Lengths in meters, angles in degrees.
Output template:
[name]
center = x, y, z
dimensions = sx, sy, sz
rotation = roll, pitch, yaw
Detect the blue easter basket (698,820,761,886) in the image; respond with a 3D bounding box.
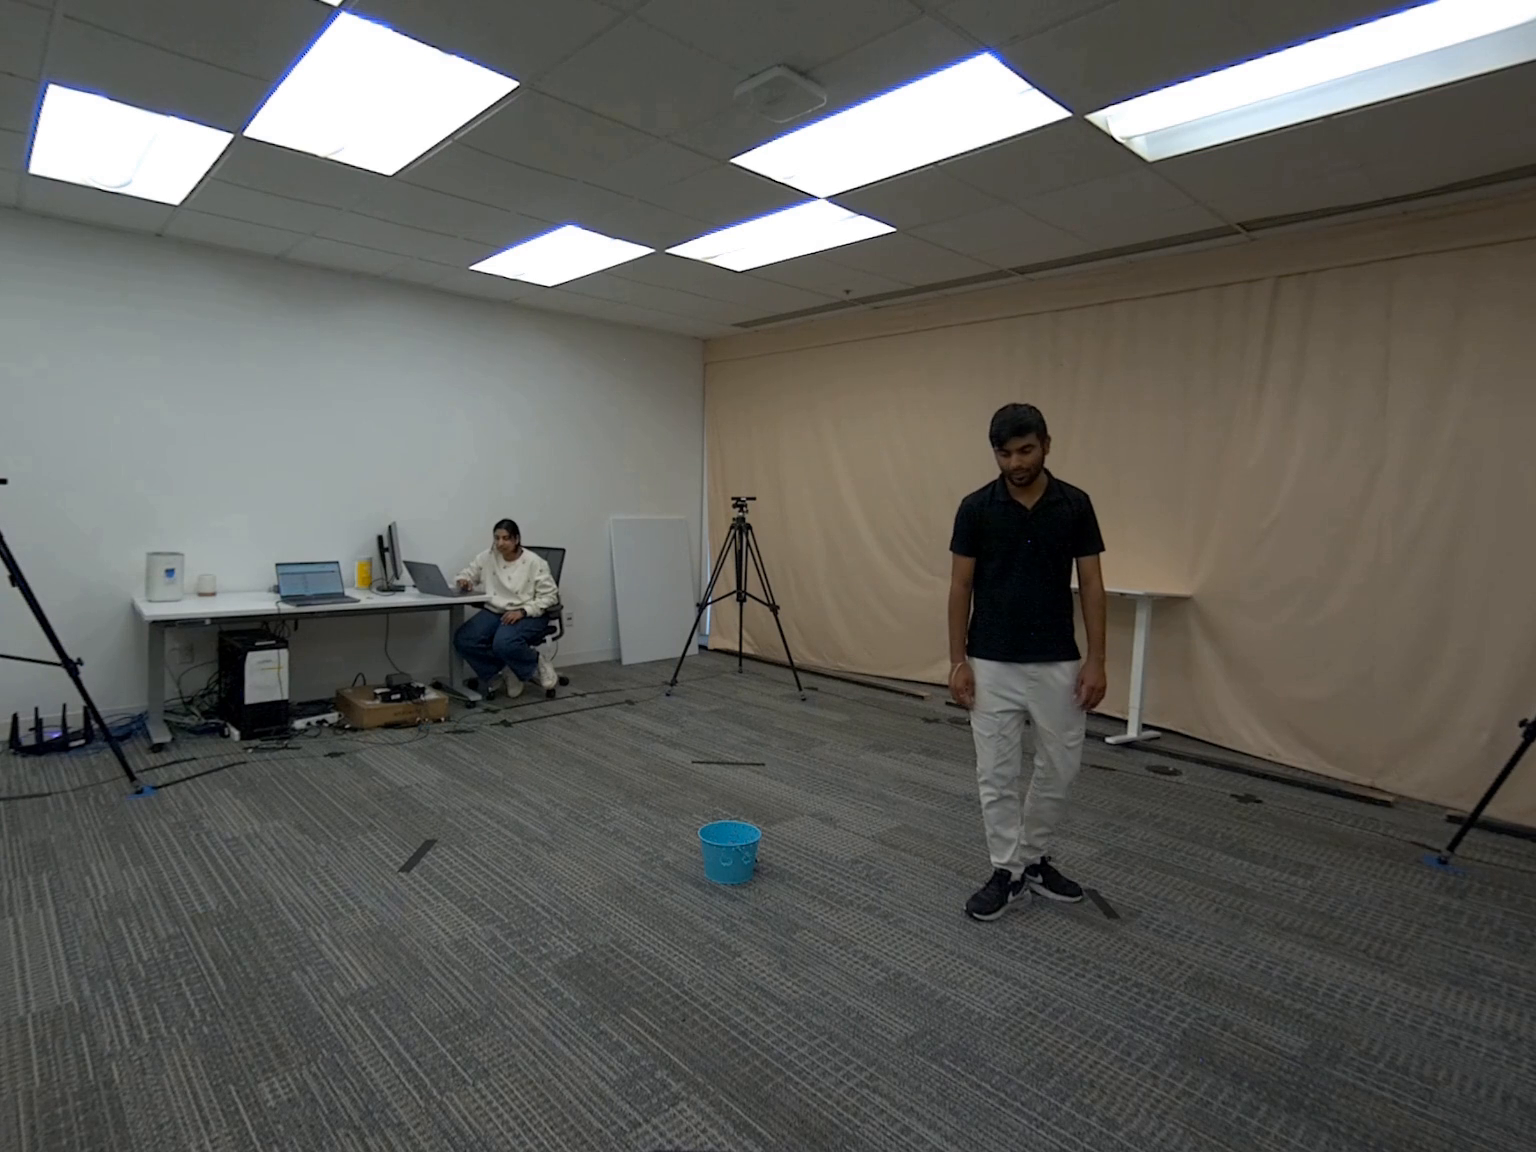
[blue easter basket]
center = -0.148, 1.022, 3.125
dimensions = 0.243, 0.155, 0.244
rotation = 1, 4, -1
